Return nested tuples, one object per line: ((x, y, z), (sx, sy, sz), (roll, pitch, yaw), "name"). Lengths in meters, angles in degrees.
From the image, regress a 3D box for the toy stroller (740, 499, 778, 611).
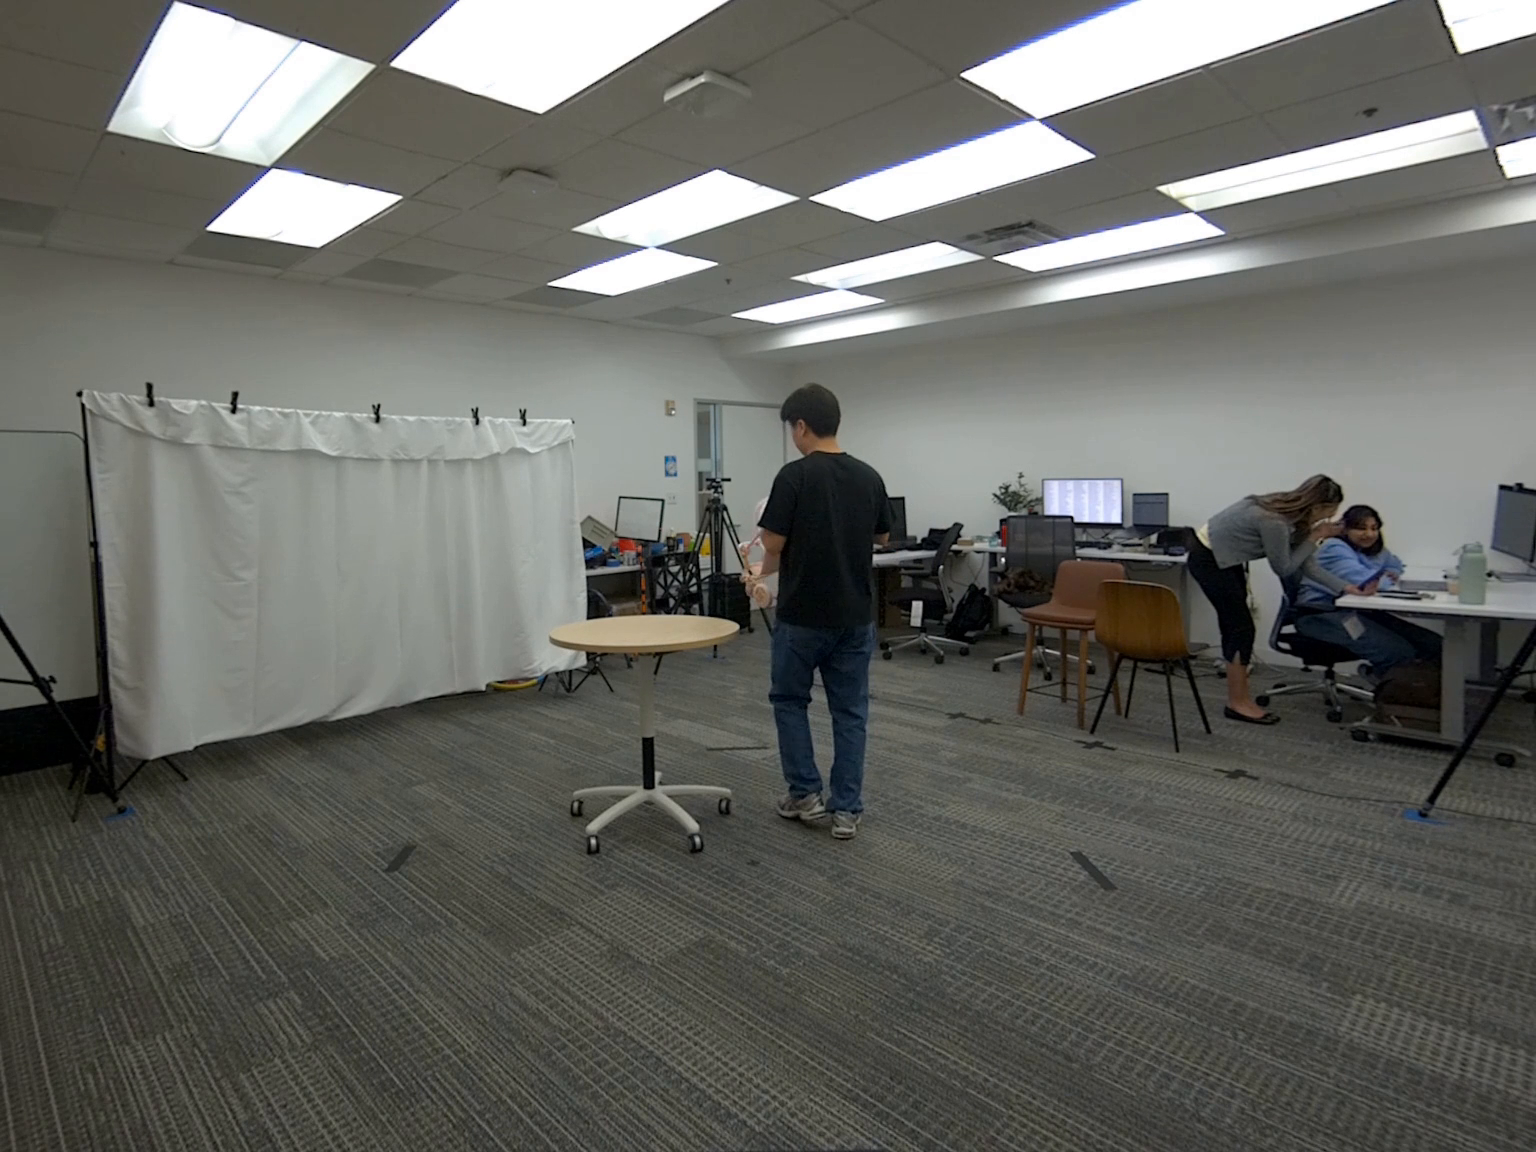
((0.026, -0.108, 3.791), (0.275, 0.527, 0.354), (-8, 21, -30), "toy stroller")
